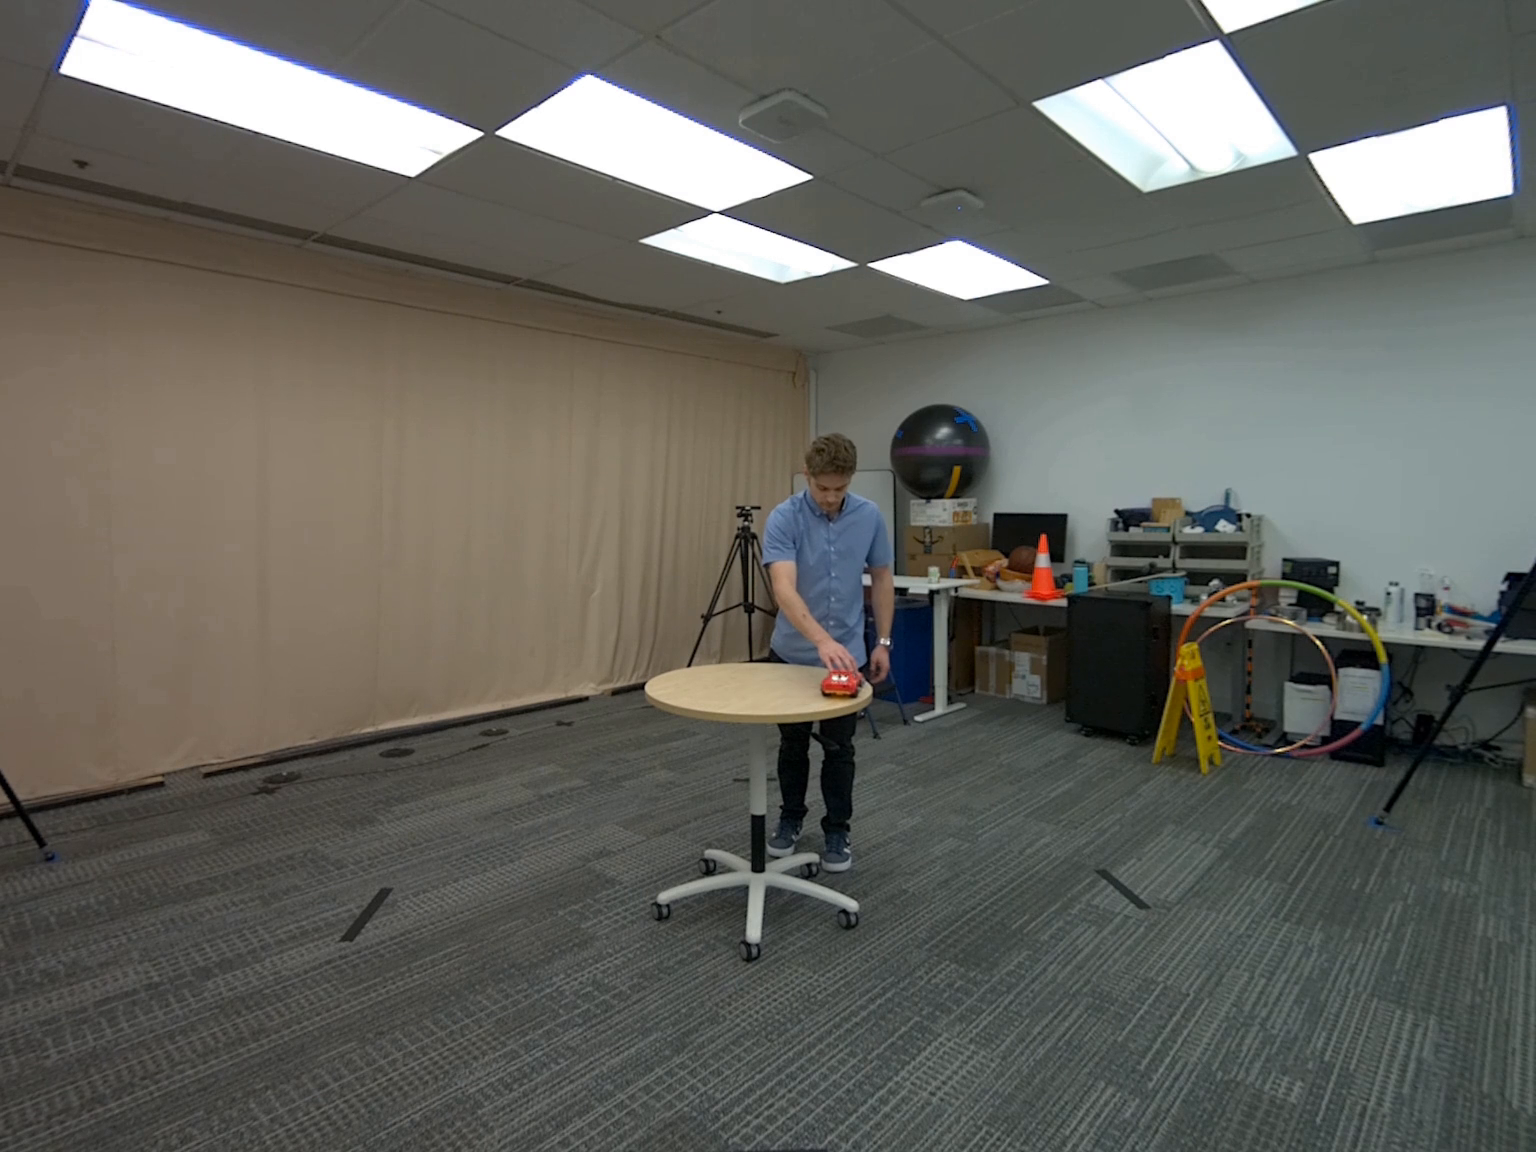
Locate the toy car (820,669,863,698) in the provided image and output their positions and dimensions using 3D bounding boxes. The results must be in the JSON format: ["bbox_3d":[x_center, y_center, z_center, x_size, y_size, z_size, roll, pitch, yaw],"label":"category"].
[{"bbox_3d":[0.238,0.350,2.743,0.132,0.083,0.249,3,-6,14],"label":"toy car"}]
